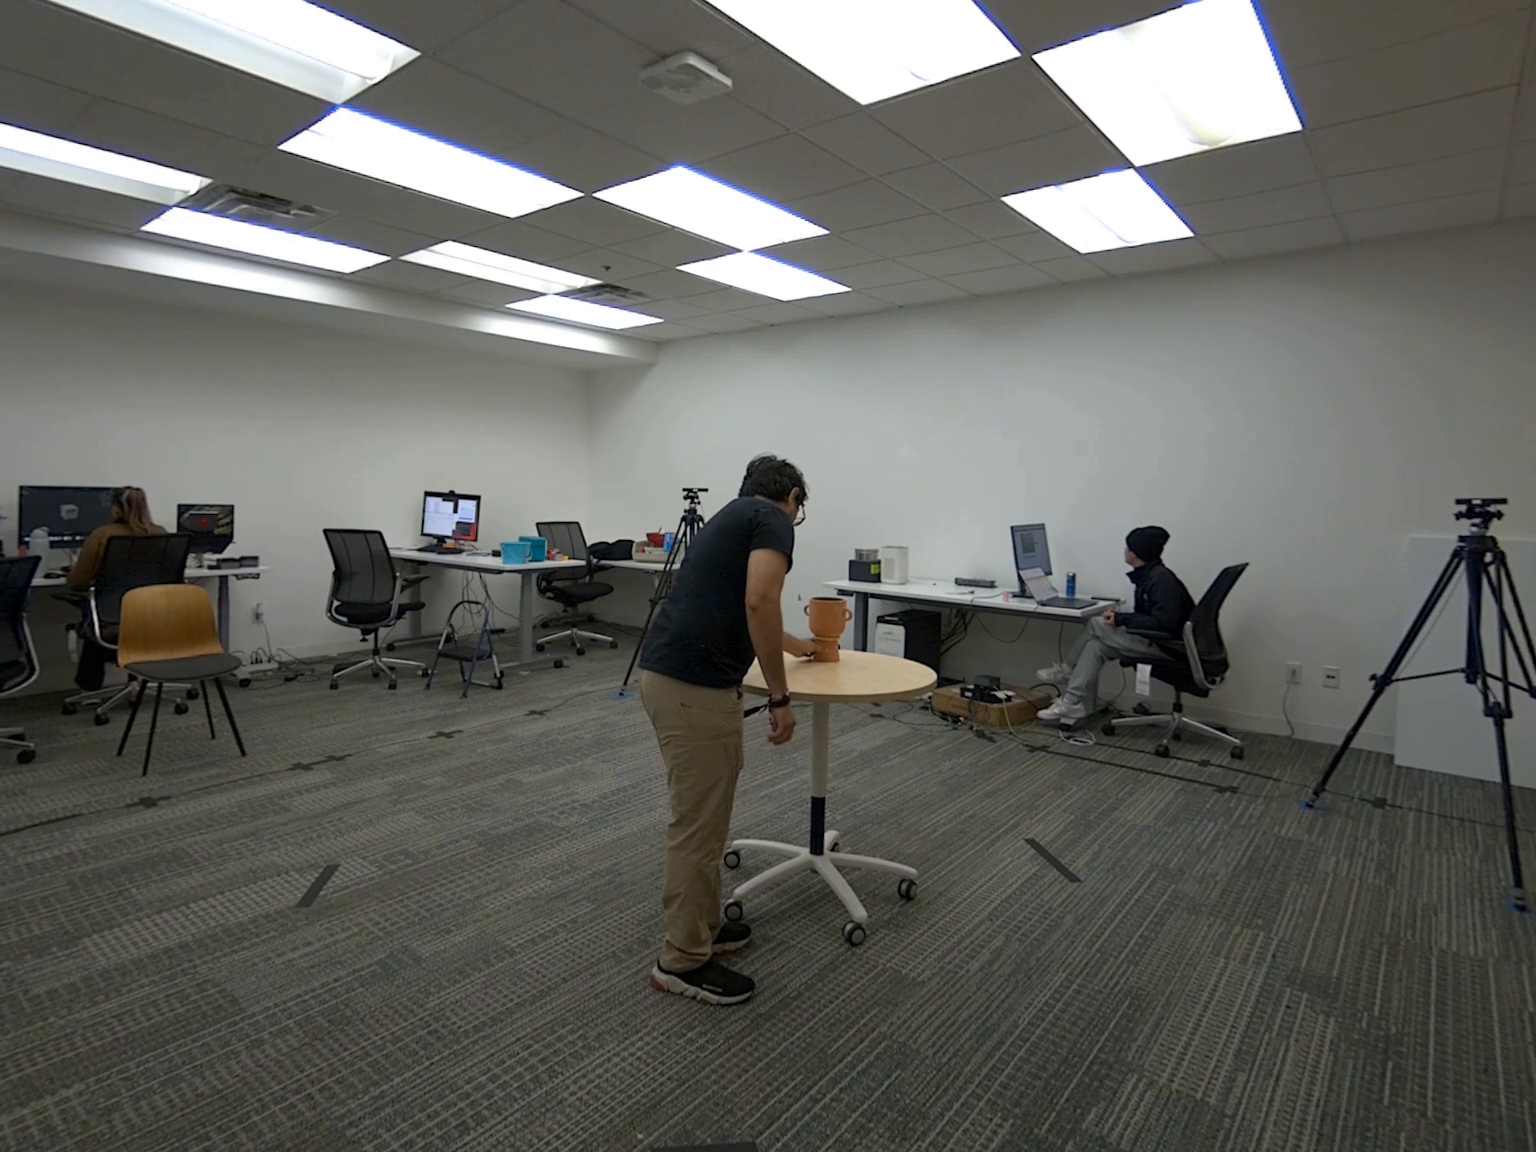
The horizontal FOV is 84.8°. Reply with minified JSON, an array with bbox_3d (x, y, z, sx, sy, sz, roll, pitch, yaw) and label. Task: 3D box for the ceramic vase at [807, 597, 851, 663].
[{"bbox_3d":[0.207,0.192,3.070,0.132,0.219,0.162,1,3,-16],"label":"ceramic vase"}]
